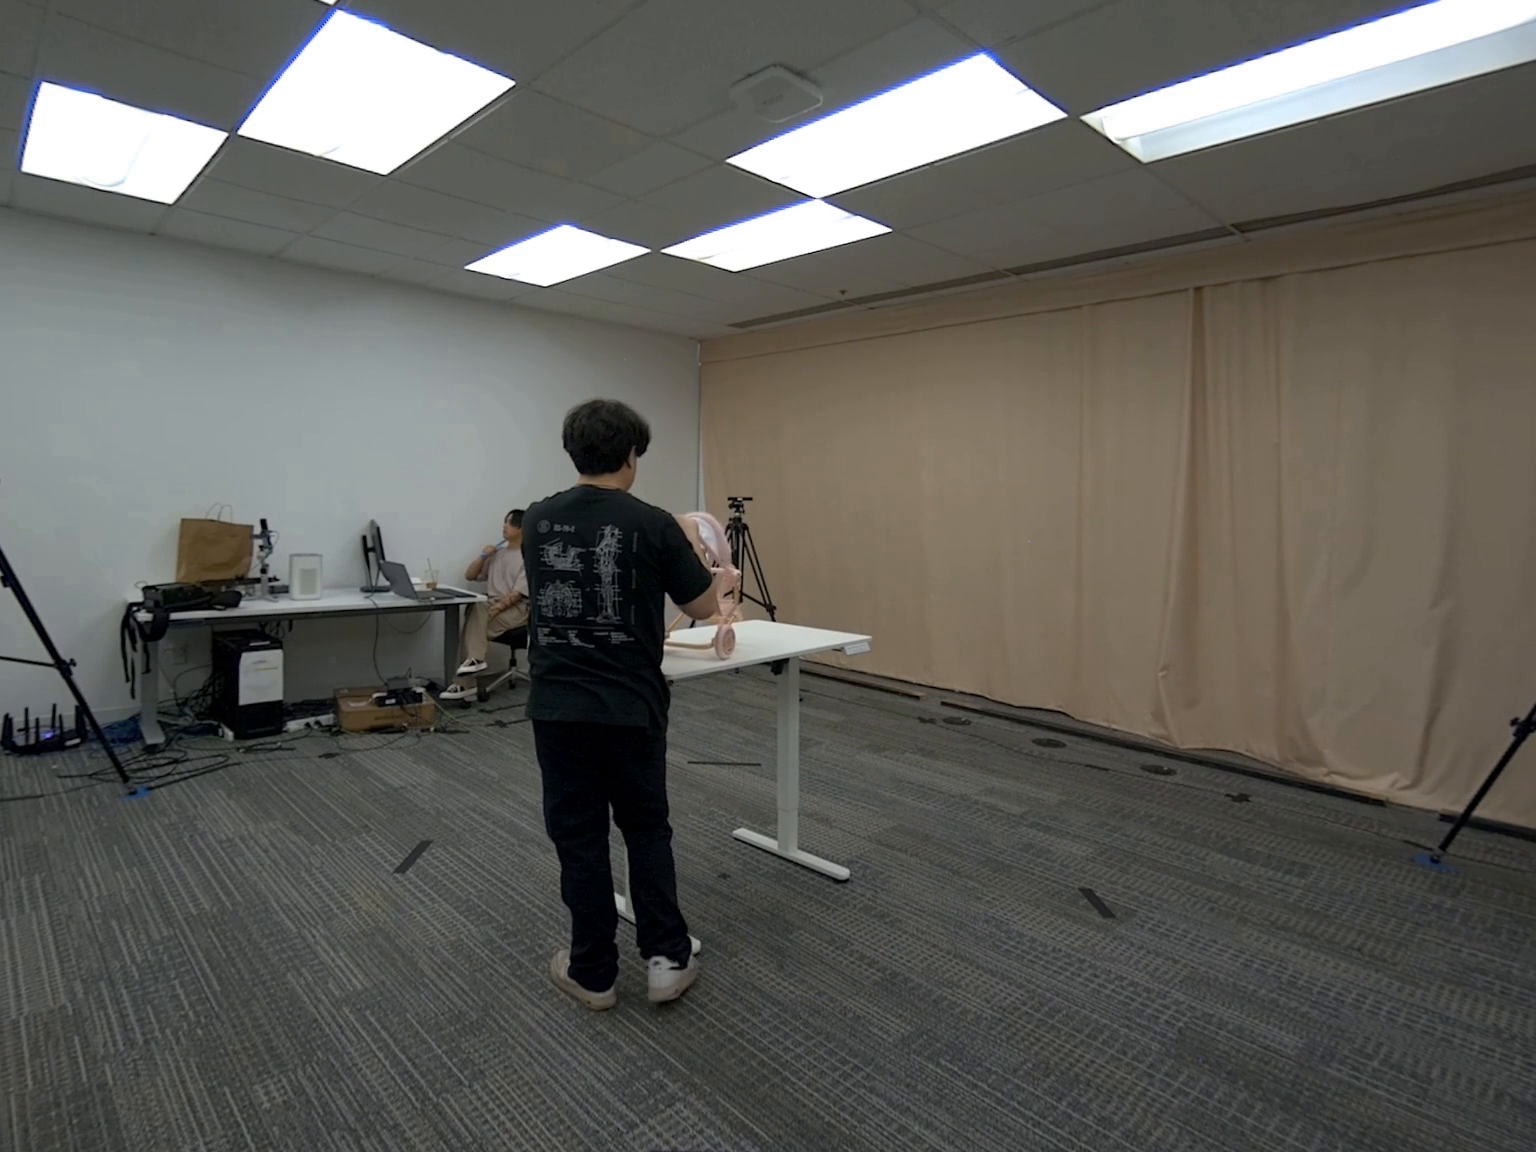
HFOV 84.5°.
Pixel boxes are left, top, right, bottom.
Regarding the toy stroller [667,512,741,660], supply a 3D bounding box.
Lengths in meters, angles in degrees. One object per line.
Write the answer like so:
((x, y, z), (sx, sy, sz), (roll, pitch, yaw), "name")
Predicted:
((-0.223, 0.032, 2.761), (0.287, 0.528, 0.339), (4, 19, 28), "toy stroller")
